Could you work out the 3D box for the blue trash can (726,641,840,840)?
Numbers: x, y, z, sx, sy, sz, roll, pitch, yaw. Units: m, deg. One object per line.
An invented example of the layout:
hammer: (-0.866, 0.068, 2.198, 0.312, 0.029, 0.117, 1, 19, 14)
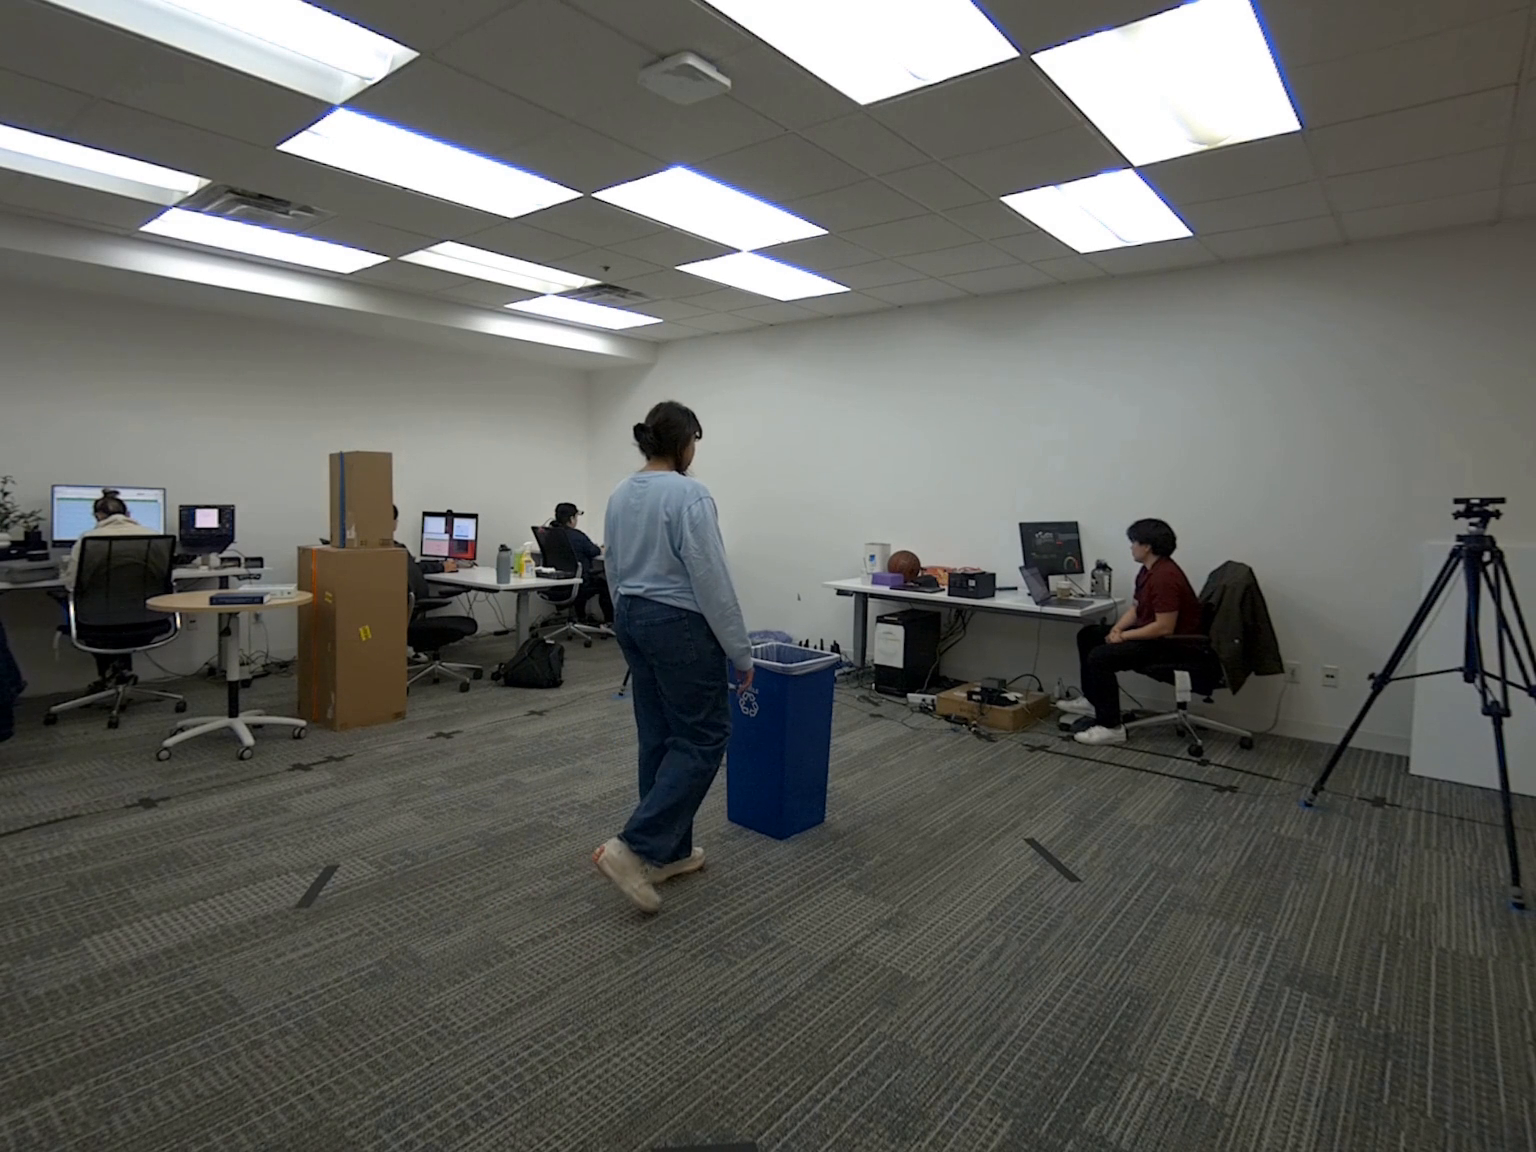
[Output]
blue trash can: (0.045, 0.673, 3.566, 0.387, 0.711, 0.366, 4, 4, 42)
